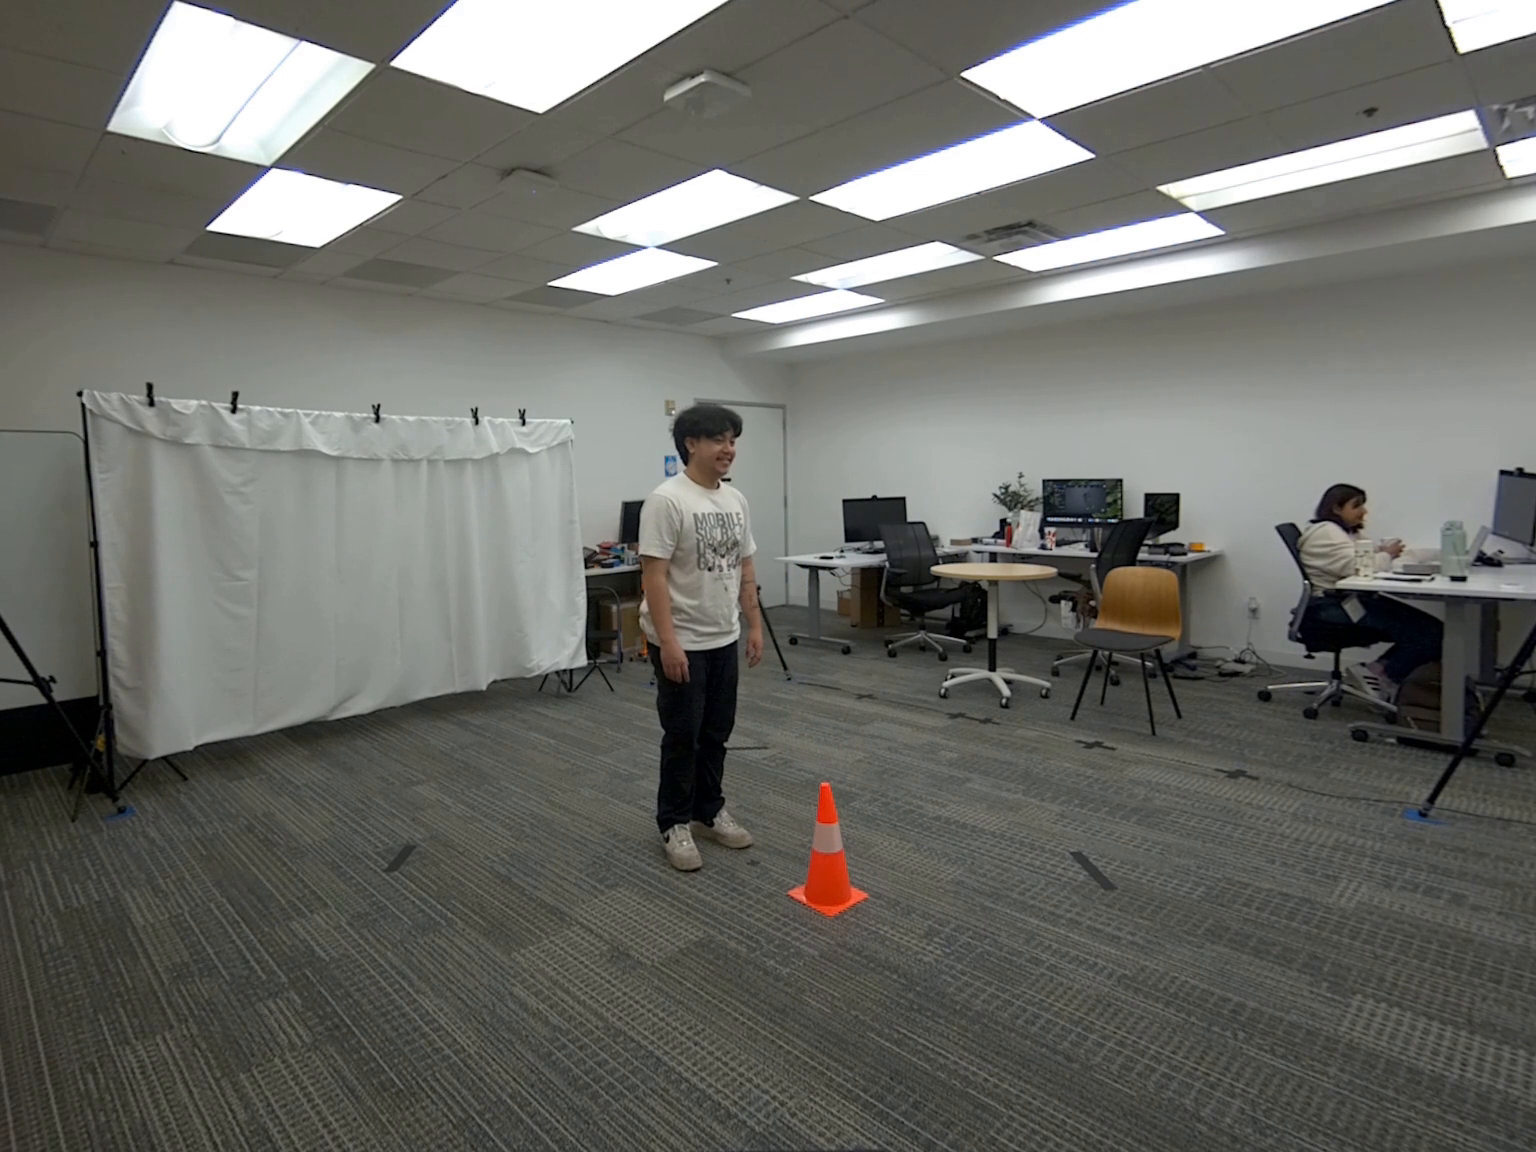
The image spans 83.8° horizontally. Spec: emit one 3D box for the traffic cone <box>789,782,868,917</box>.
[{"bbox_3d":[0.199,0.879,2.836,0.200,0.382,0.209,-6,6,-41],"label":"traffic cone"}]
